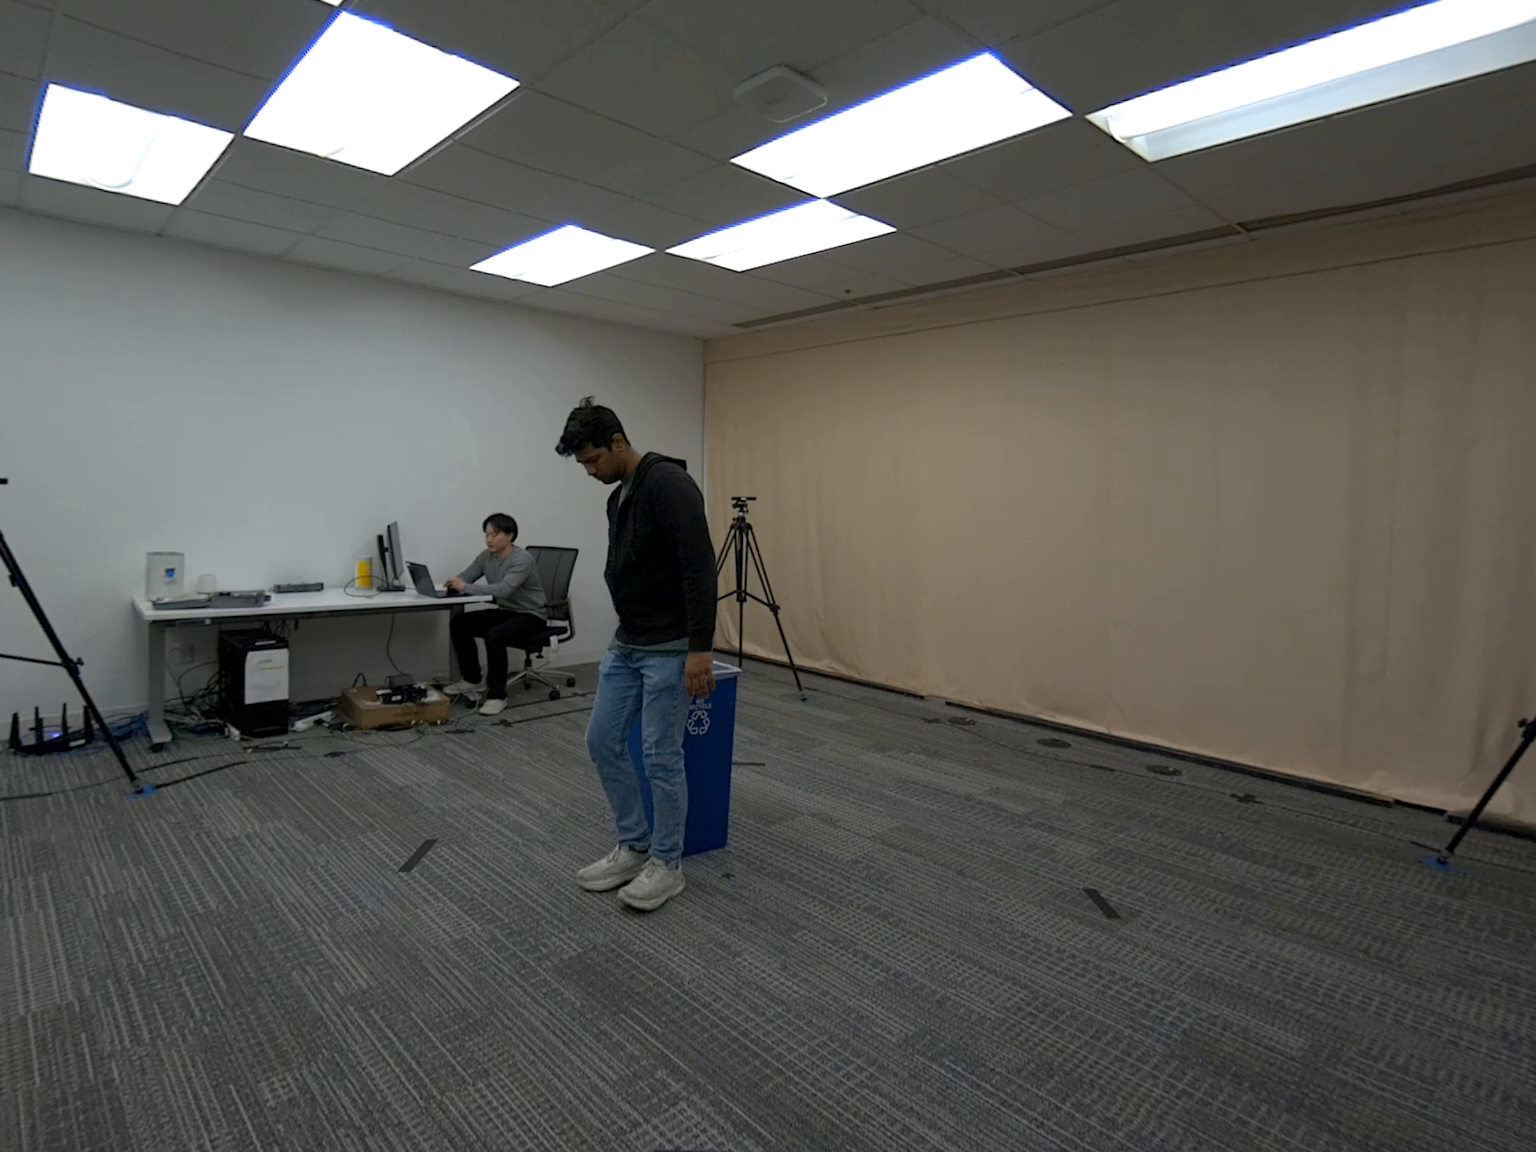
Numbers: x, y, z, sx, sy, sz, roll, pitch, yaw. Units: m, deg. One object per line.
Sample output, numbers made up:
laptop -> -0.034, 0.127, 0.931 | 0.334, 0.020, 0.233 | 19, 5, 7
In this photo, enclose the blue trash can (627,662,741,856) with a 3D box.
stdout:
blue trash can -> -0.358, 0.719, 3.396 | 0.369, 0.713, 0.383 | 0, 2, -37
